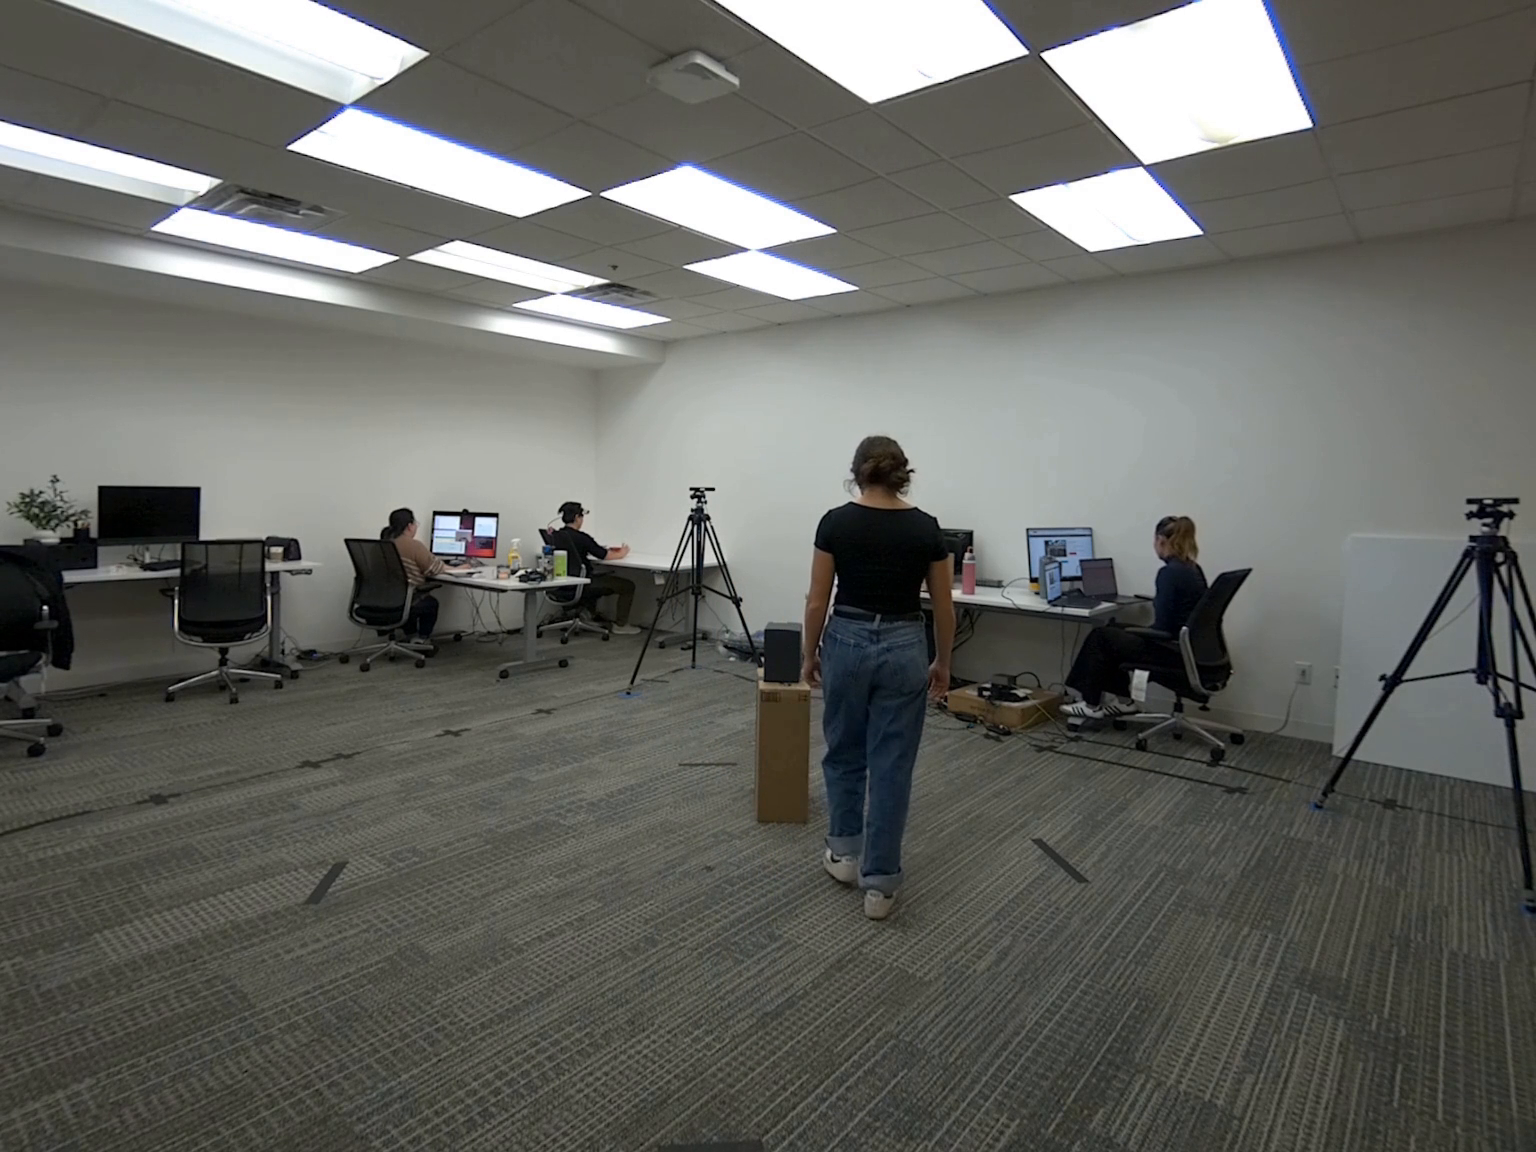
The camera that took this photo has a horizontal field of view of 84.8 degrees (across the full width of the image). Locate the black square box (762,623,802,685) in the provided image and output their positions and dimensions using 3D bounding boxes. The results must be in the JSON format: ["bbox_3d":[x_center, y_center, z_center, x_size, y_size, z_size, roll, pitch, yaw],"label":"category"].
[{"bbox_3d":[0.056,0.324,3.745,0.157,0.227,0.216,2,4,5],"label":"black square box"}]
